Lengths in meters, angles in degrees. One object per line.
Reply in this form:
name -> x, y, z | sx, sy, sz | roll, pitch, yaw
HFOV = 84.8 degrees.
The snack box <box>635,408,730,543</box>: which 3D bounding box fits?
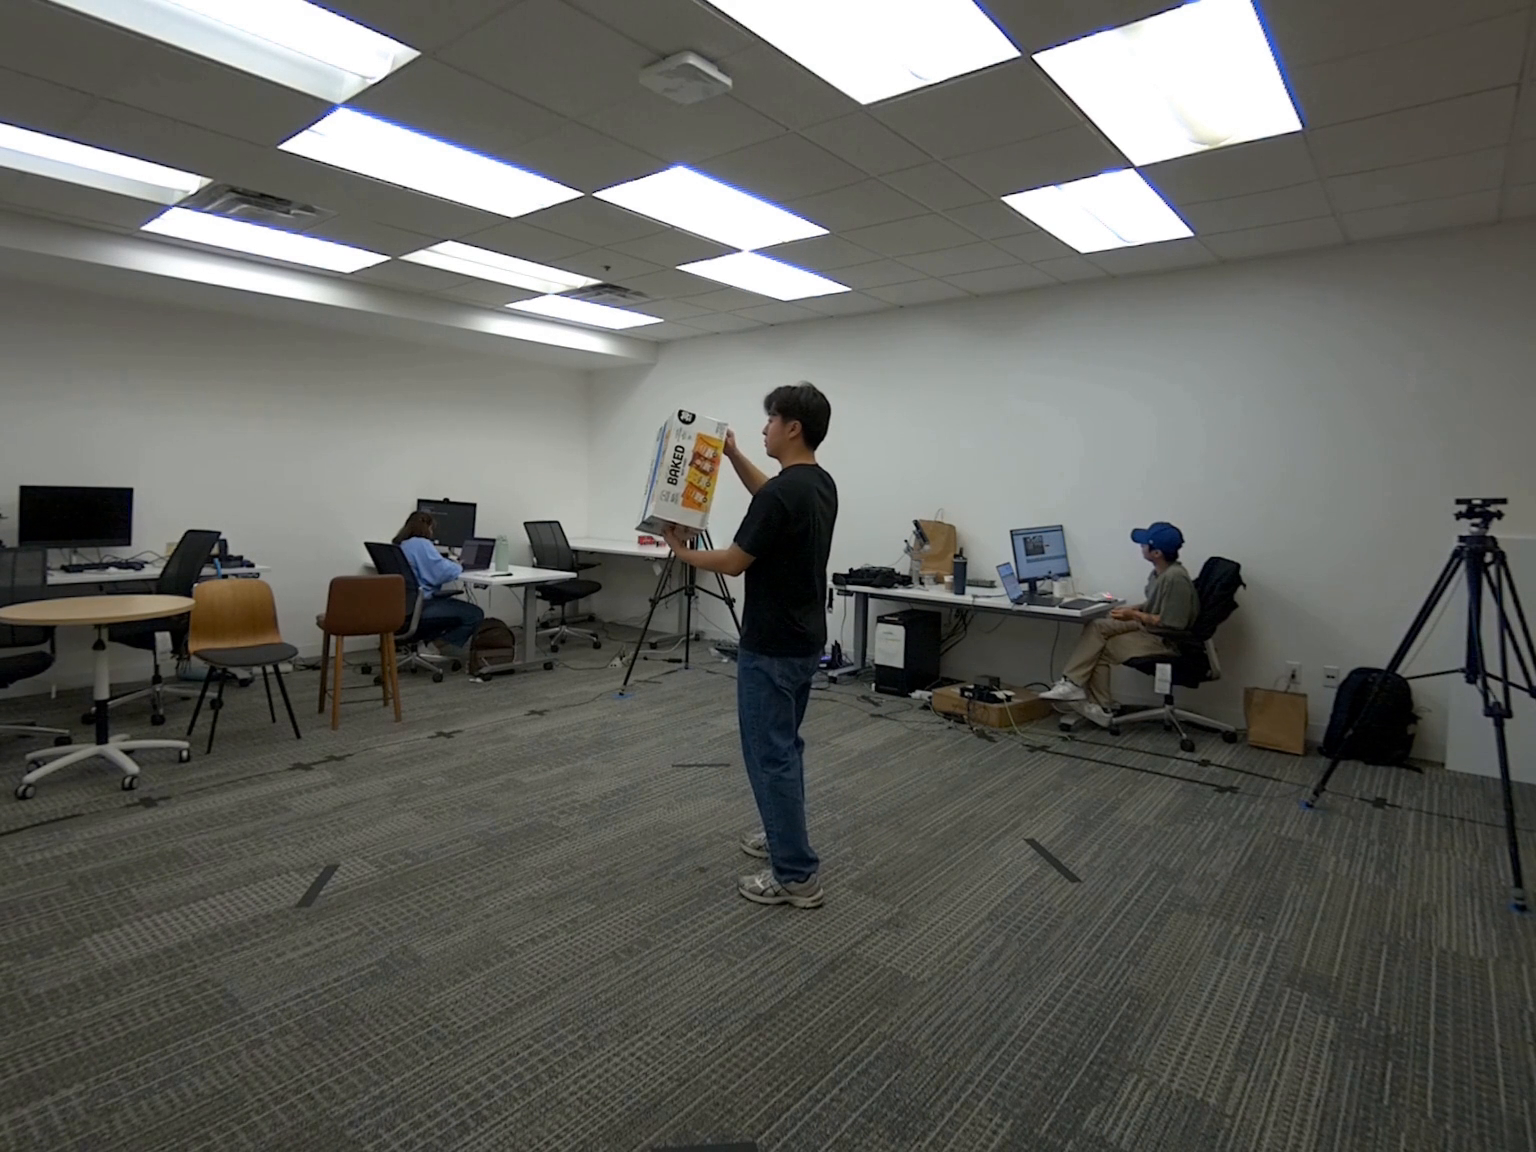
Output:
snack box -> -0.330, -0.368, 3.174 | 0.202, 0.408, 0.343 | 15, -11, -14
